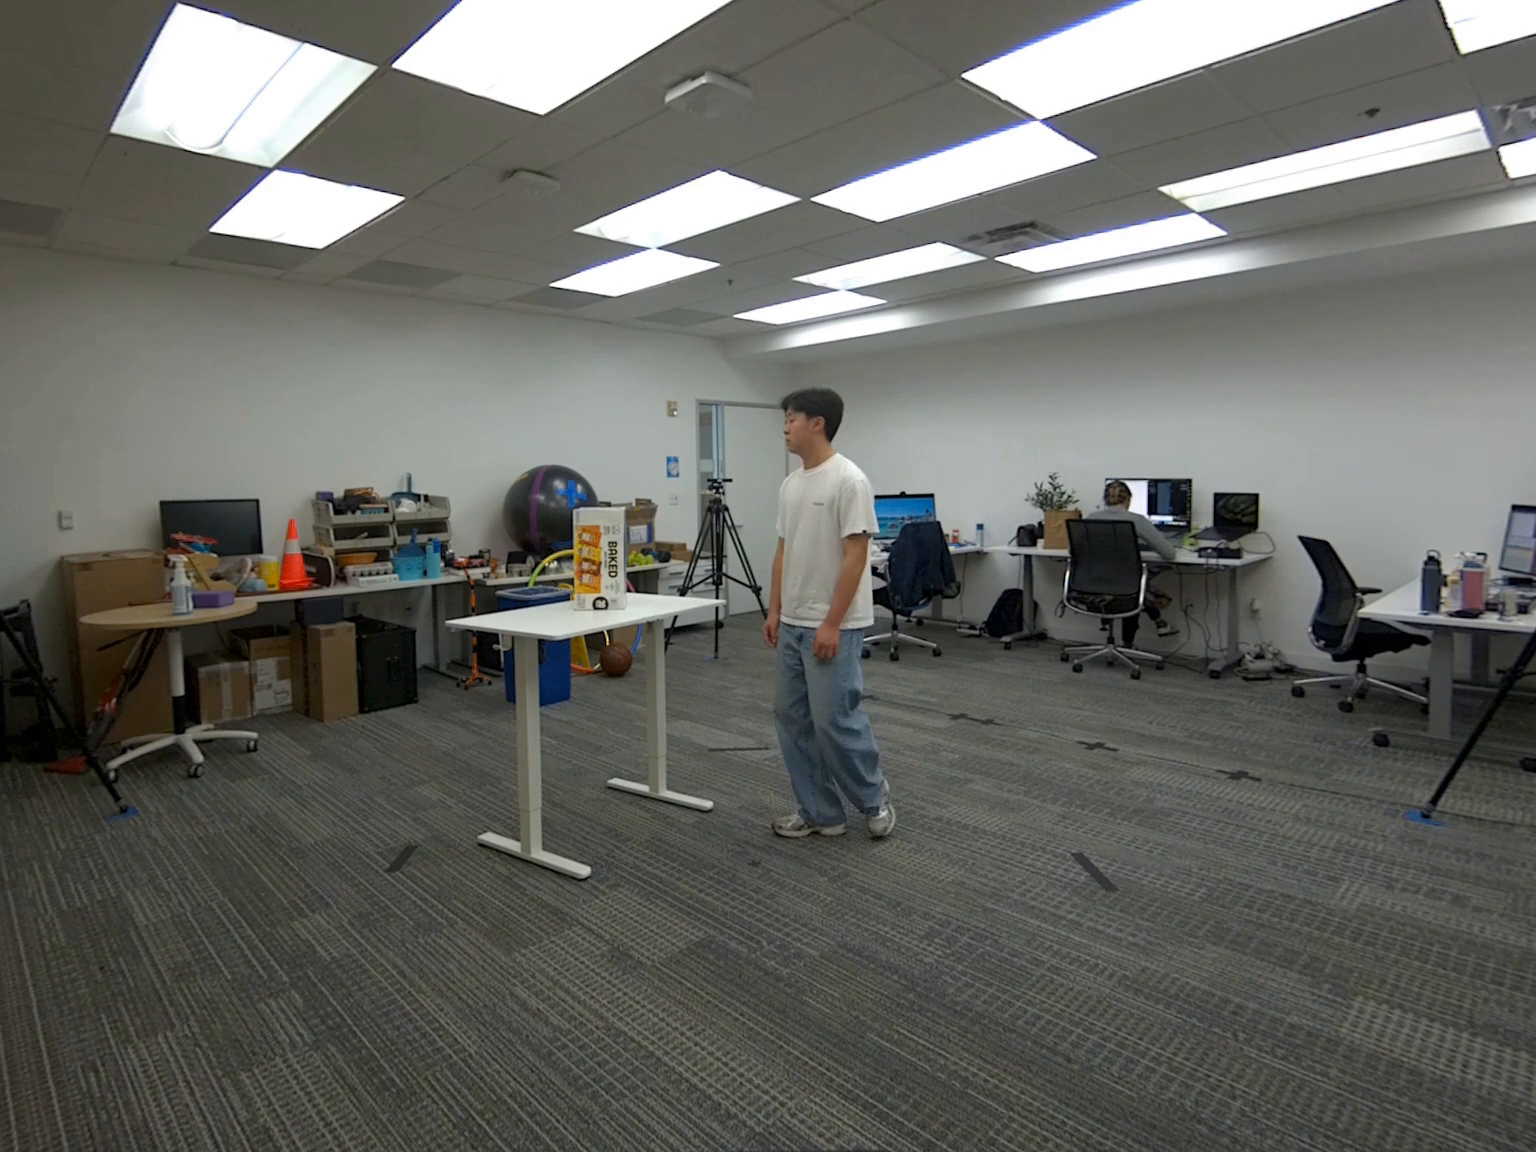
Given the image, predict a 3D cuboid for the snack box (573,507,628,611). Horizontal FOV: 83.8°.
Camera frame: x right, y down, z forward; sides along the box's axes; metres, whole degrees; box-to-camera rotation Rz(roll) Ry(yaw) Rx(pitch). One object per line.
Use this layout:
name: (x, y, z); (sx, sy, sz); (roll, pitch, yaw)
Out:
snack box: (-0.699, -0.085, 3.594); (0.205, 0.403, 0.343); (-1, 6, -6)
